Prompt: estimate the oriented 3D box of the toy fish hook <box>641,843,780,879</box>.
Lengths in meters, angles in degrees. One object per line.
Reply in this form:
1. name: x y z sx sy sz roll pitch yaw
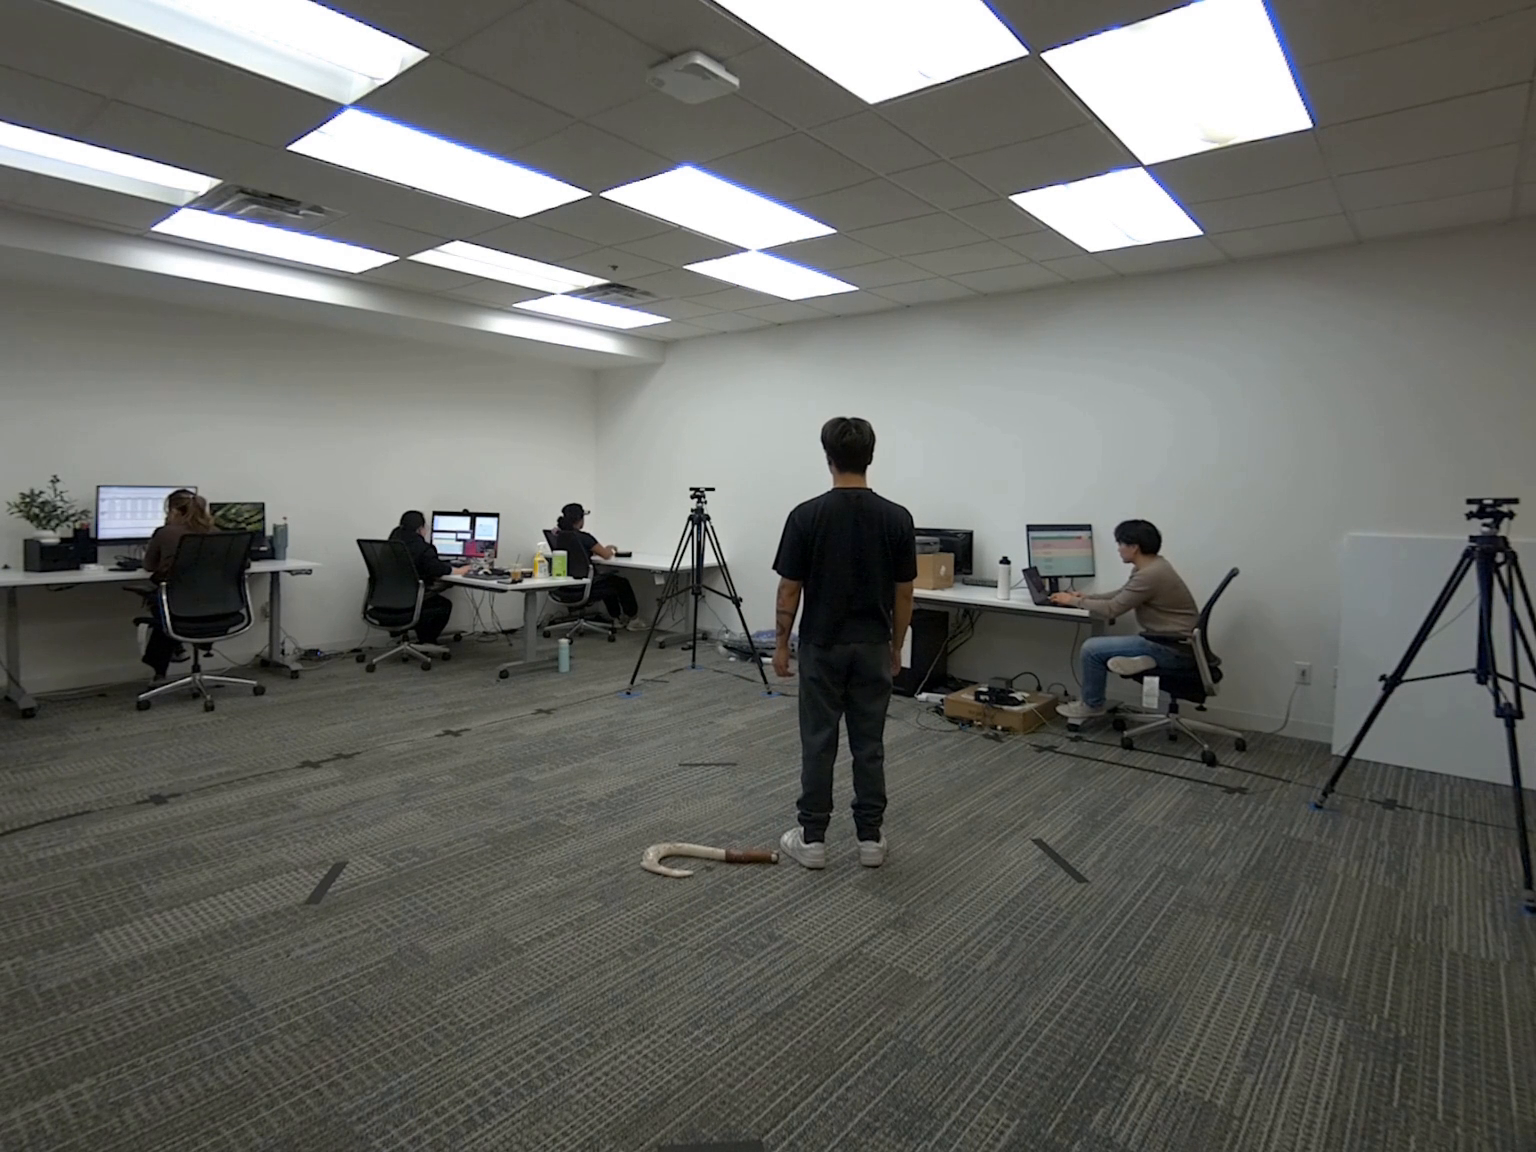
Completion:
1. toy fish hook: -0.222 1.050 3.137 0.508 0.048 0.226 0 13 3
